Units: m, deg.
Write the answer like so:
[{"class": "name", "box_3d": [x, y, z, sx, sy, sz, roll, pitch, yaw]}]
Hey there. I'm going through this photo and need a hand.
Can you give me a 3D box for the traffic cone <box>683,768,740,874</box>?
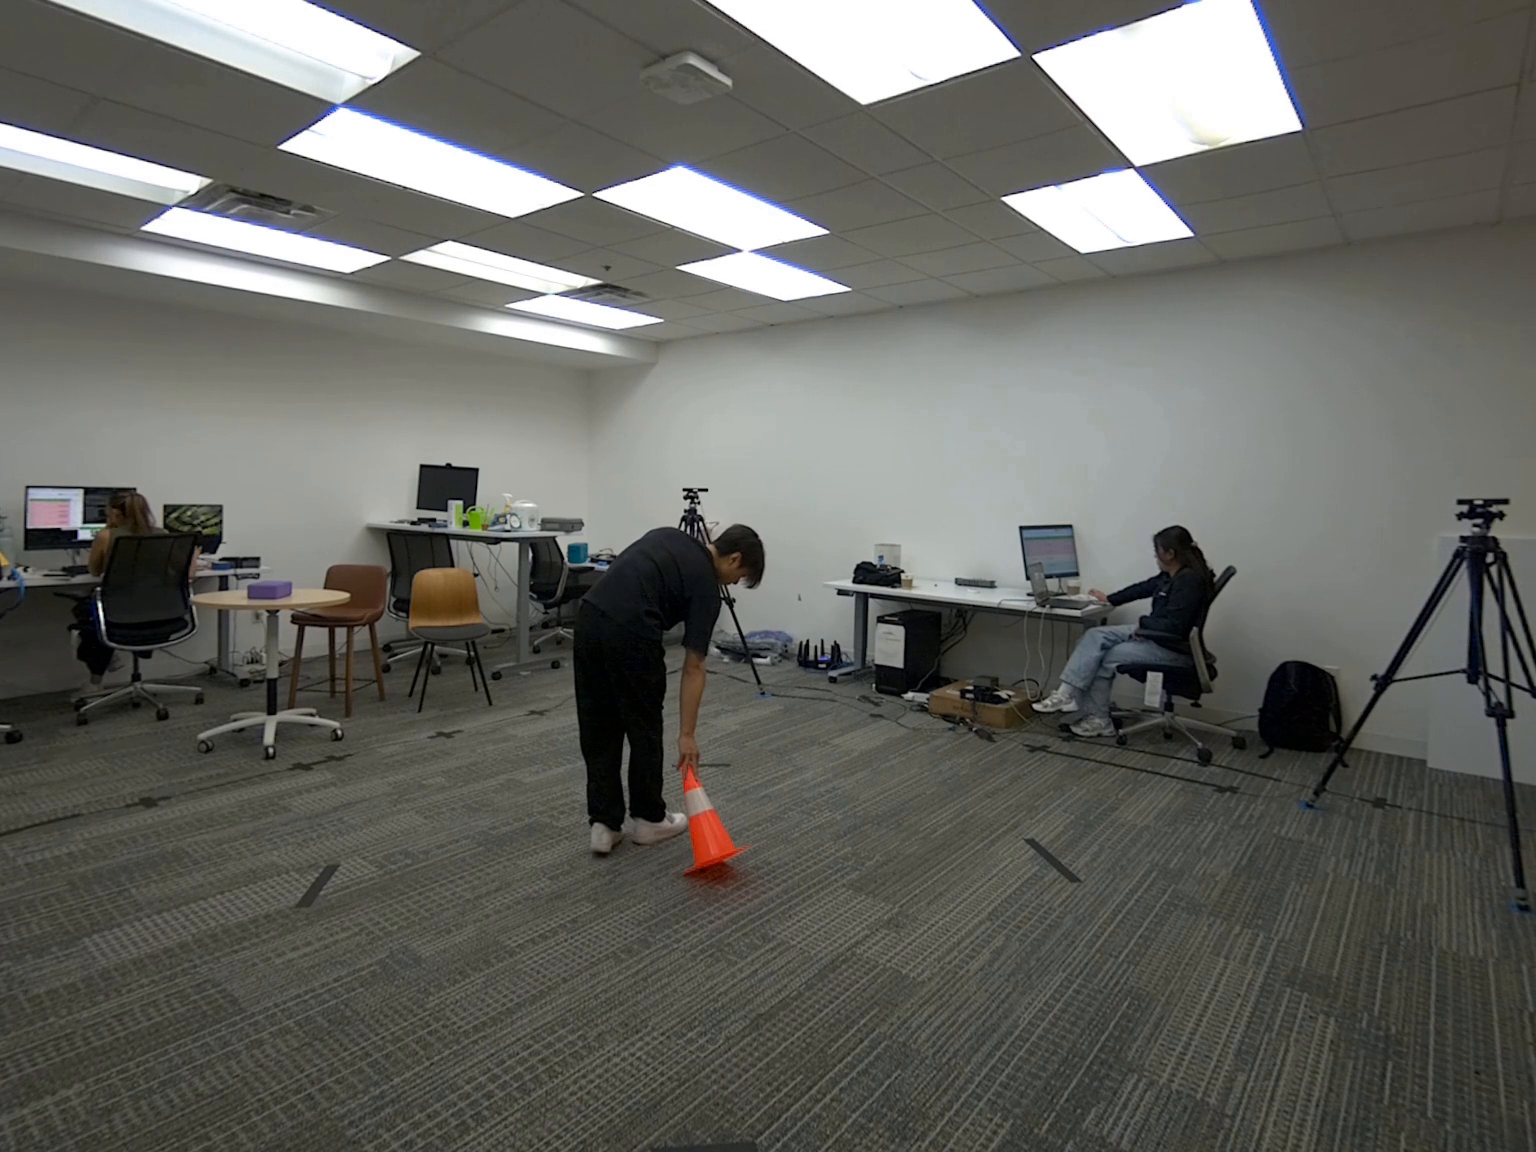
[{"class": "traffic cone", "box_3d": [-0.261, 0.858, 3.132, 0.198, 0.394, 0.205, -6, -25, -35]}]
